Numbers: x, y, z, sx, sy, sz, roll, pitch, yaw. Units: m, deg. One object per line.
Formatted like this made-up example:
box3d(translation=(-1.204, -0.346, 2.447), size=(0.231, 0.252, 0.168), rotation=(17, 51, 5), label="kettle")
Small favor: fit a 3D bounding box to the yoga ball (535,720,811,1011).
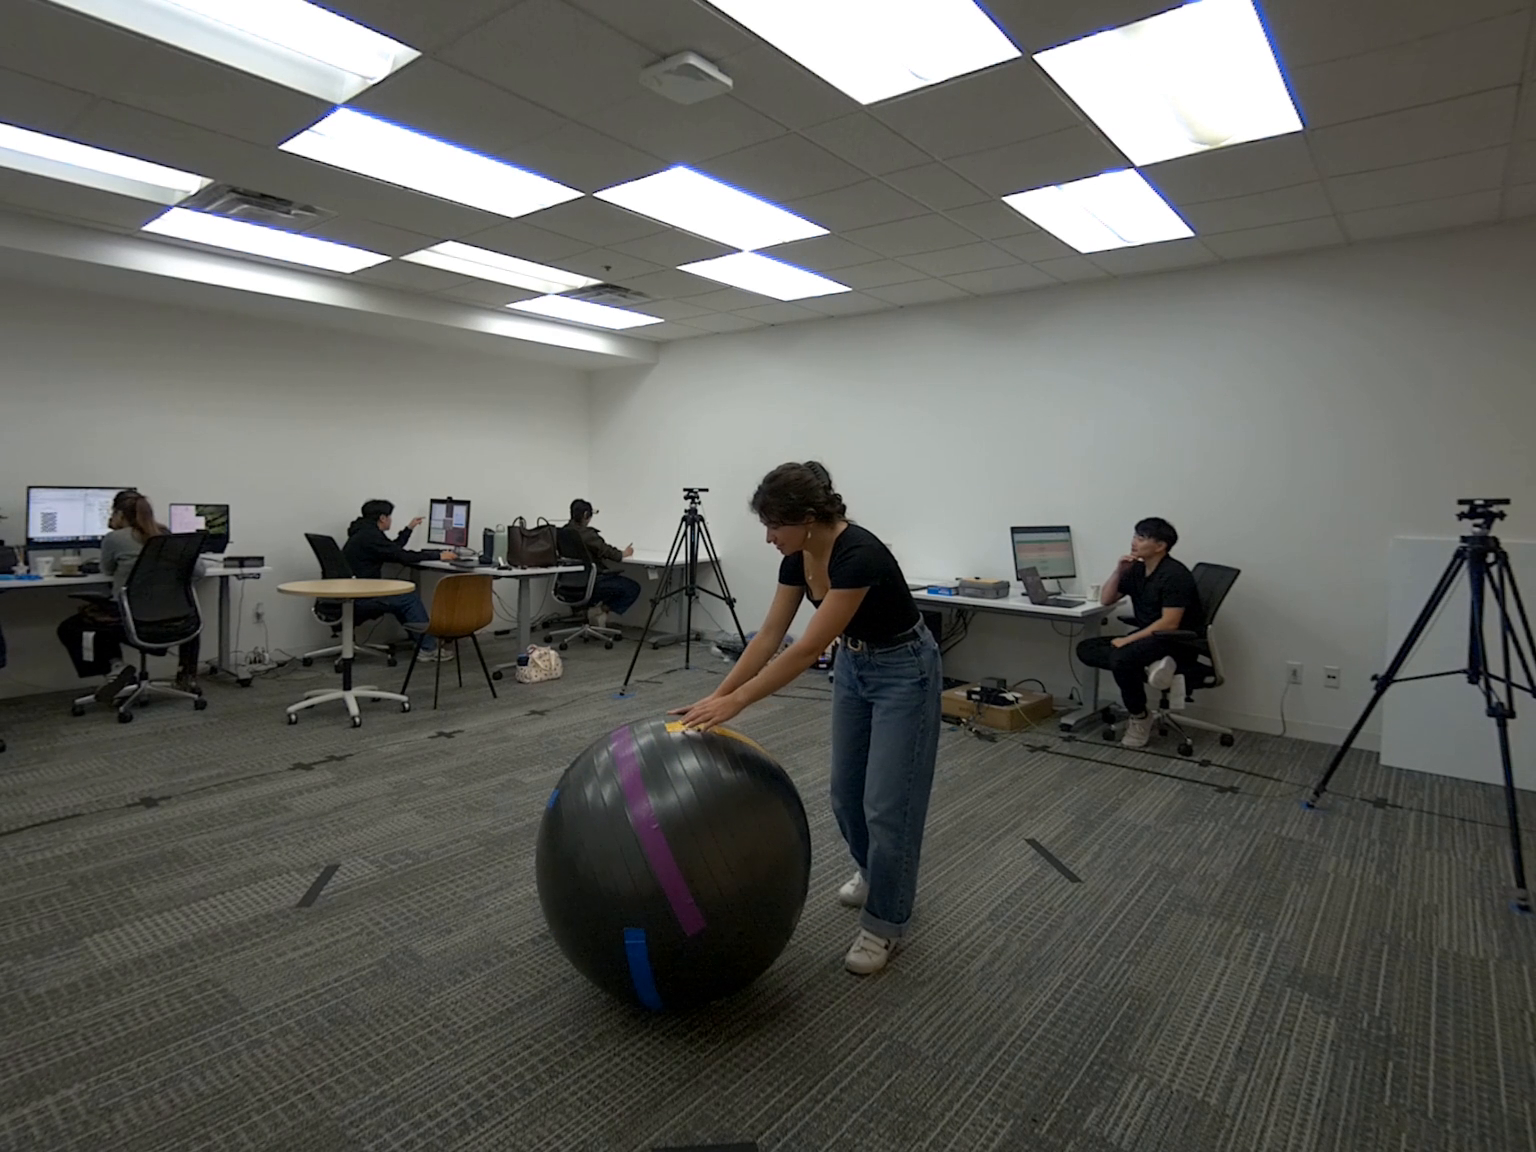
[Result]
box3d(translation=(-0.262, 0.774, 2.355), size=(0.757, 0.756, 0.762), rotation=(1, 4, -2), label="yoga ball")
